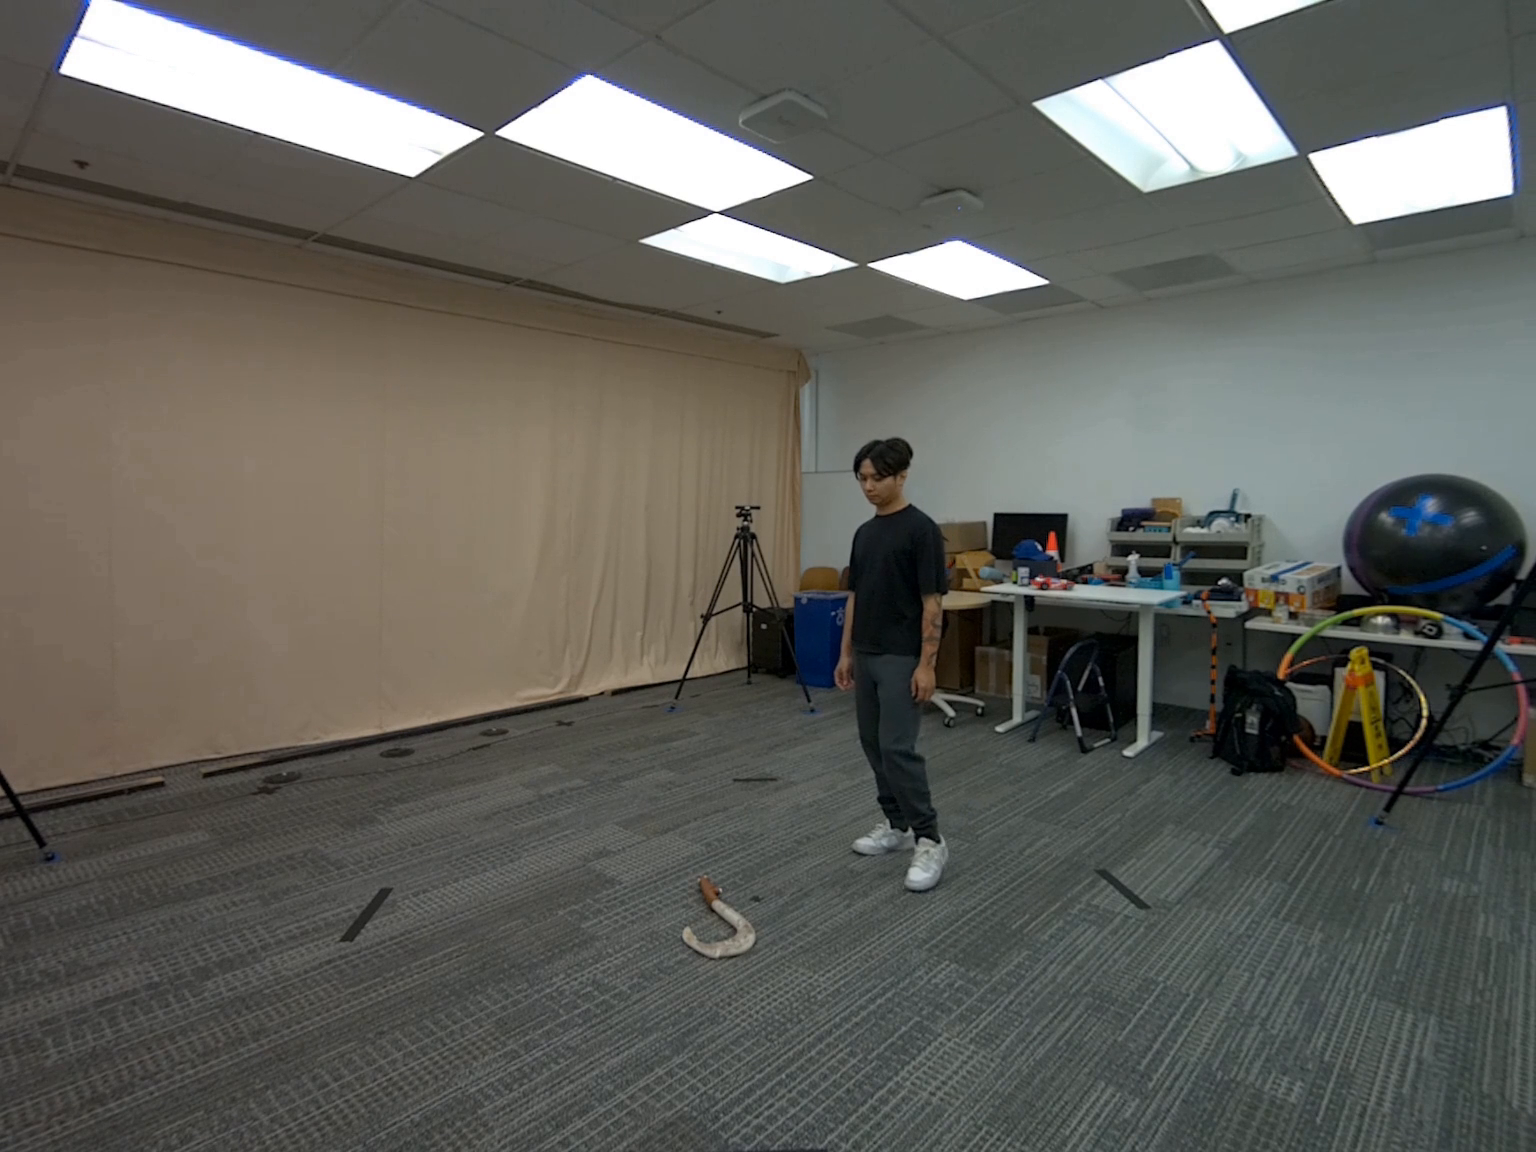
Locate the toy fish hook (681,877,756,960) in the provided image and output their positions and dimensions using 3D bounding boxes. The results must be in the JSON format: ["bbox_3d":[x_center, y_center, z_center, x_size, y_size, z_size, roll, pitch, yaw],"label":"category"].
[{"bbox_3d":[-0.203,1.135,2.827,0.220,0.048,0.517,-1,4,-20],"label":"toy fish hook"}]
